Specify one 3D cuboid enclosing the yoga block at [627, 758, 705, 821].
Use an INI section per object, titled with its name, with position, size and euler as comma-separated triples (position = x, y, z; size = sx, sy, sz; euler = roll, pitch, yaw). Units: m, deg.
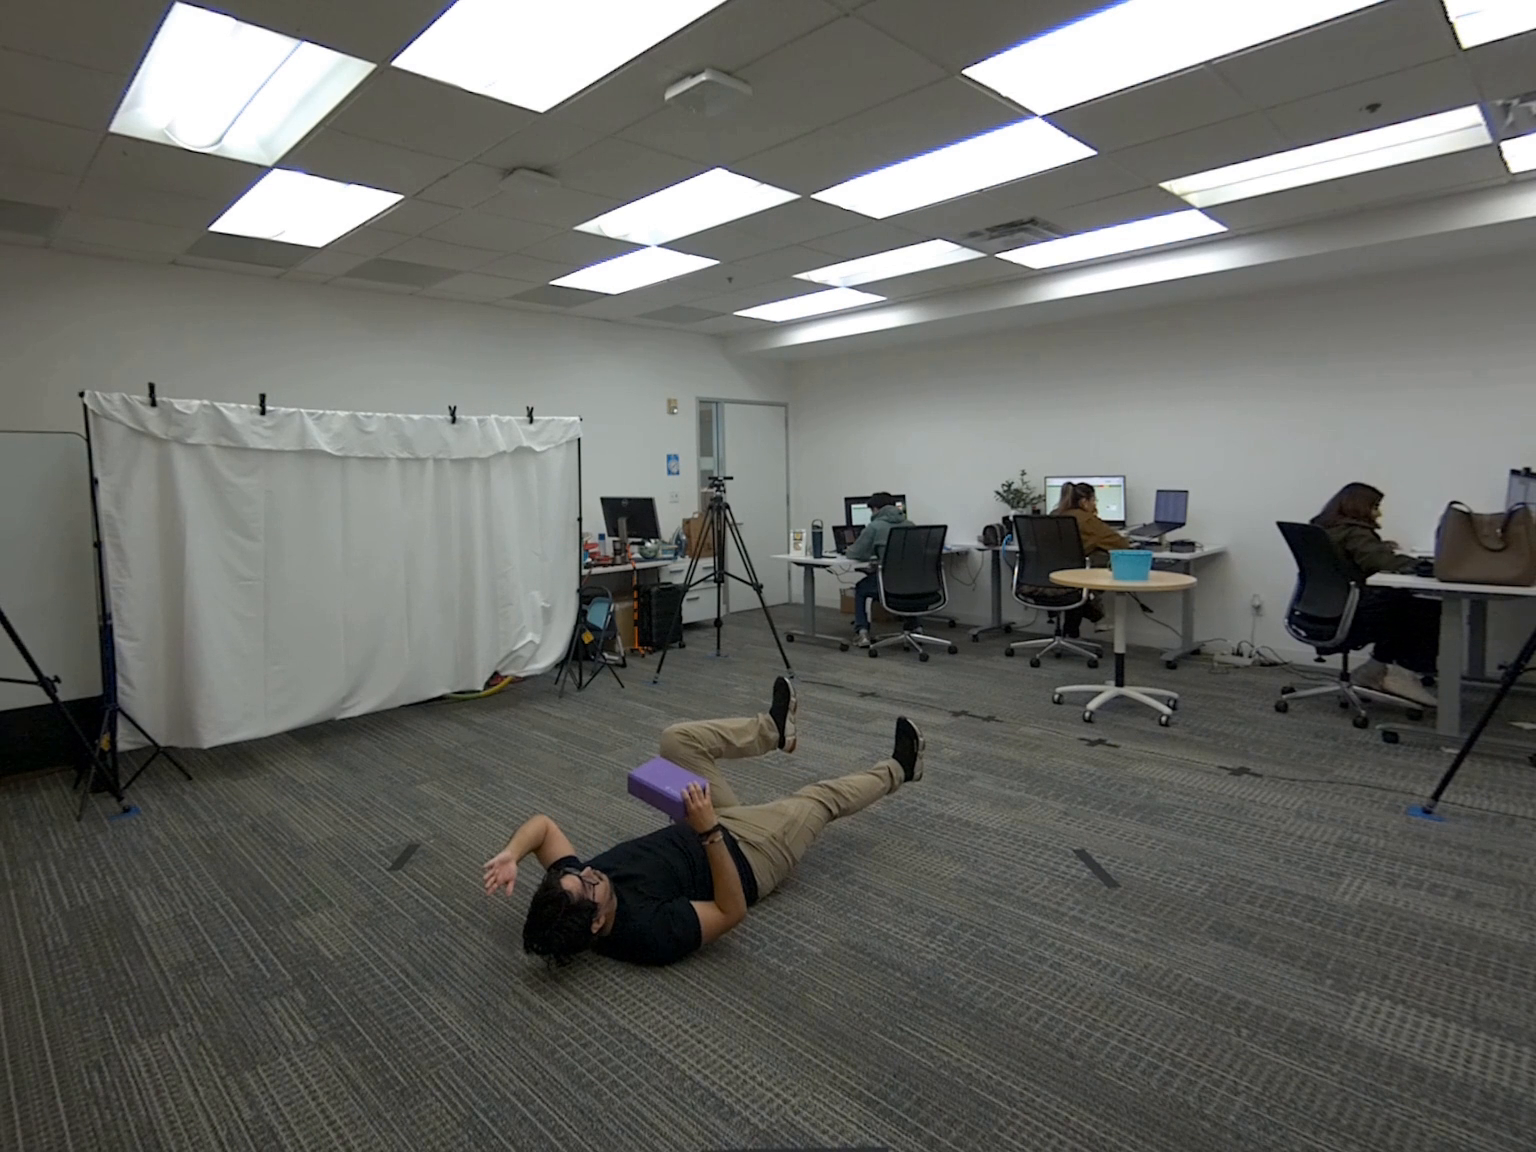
[yoga block]
position = -0.303, 0.654, 2.664
size = 0.237, 0.075, 0.146
euler = 15, 21, 36
